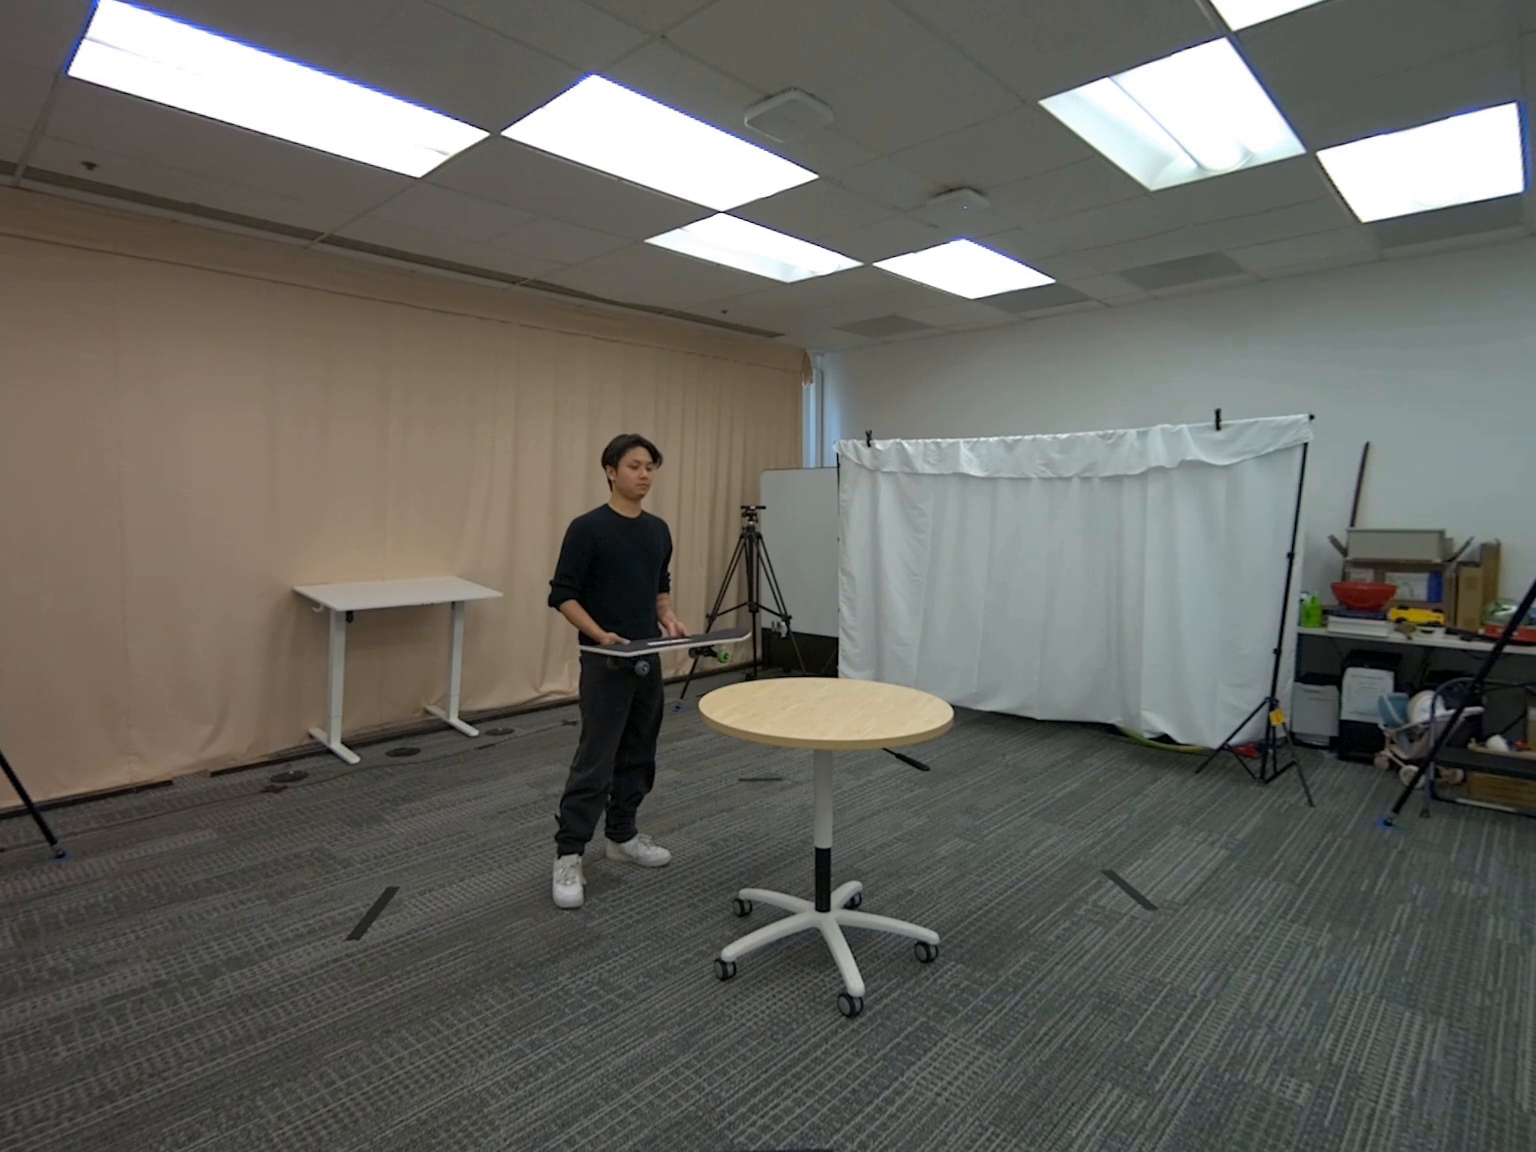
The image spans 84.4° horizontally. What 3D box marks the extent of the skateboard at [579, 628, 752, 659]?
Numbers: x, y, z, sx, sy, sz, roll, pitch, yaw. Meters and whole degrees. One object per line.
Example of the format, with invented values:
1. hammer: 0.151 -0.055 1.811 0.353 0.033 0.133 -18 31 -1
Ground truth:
1. skateboard: -0.349 0.275 3.047 0.200 0.110 0.761 4 4 43
